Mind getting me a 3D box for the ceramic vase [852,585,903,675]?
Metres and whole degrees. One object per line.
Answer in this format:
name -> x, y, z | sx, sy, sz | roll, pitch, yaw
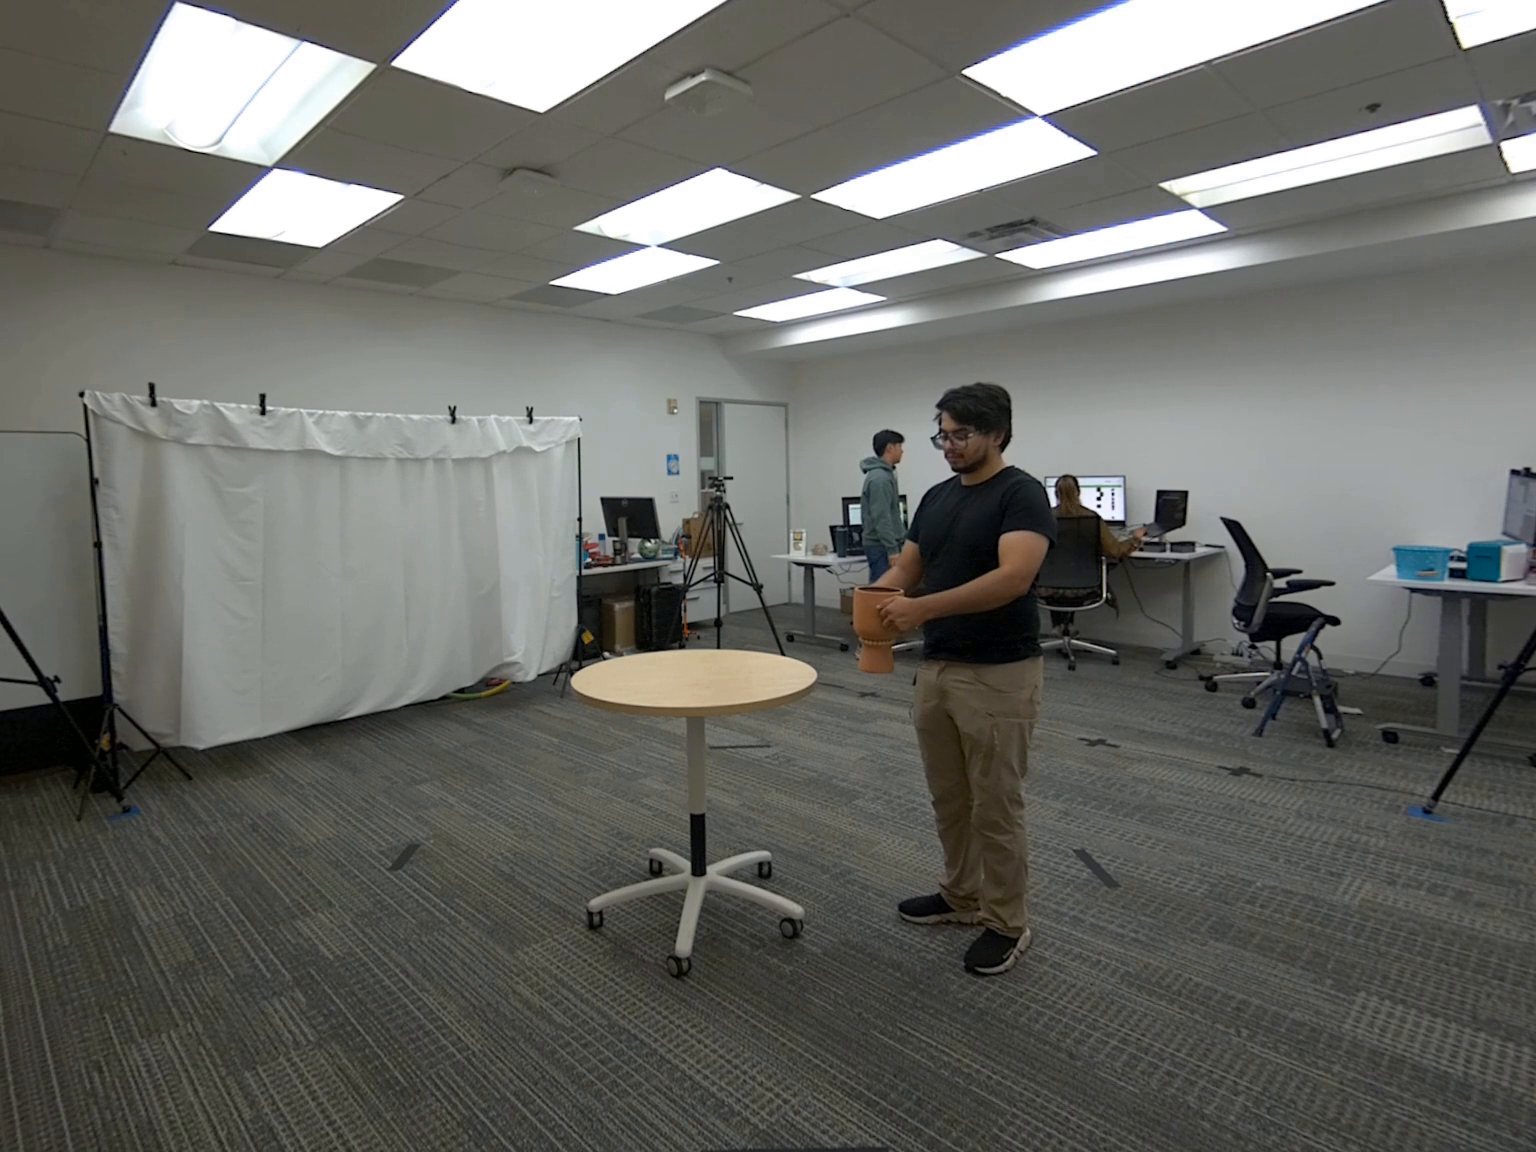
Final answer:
ceramic vase -> 0.314, 0.144, 2.308 | 0.132, 0.219, 0.162 | -3, 4, -20
